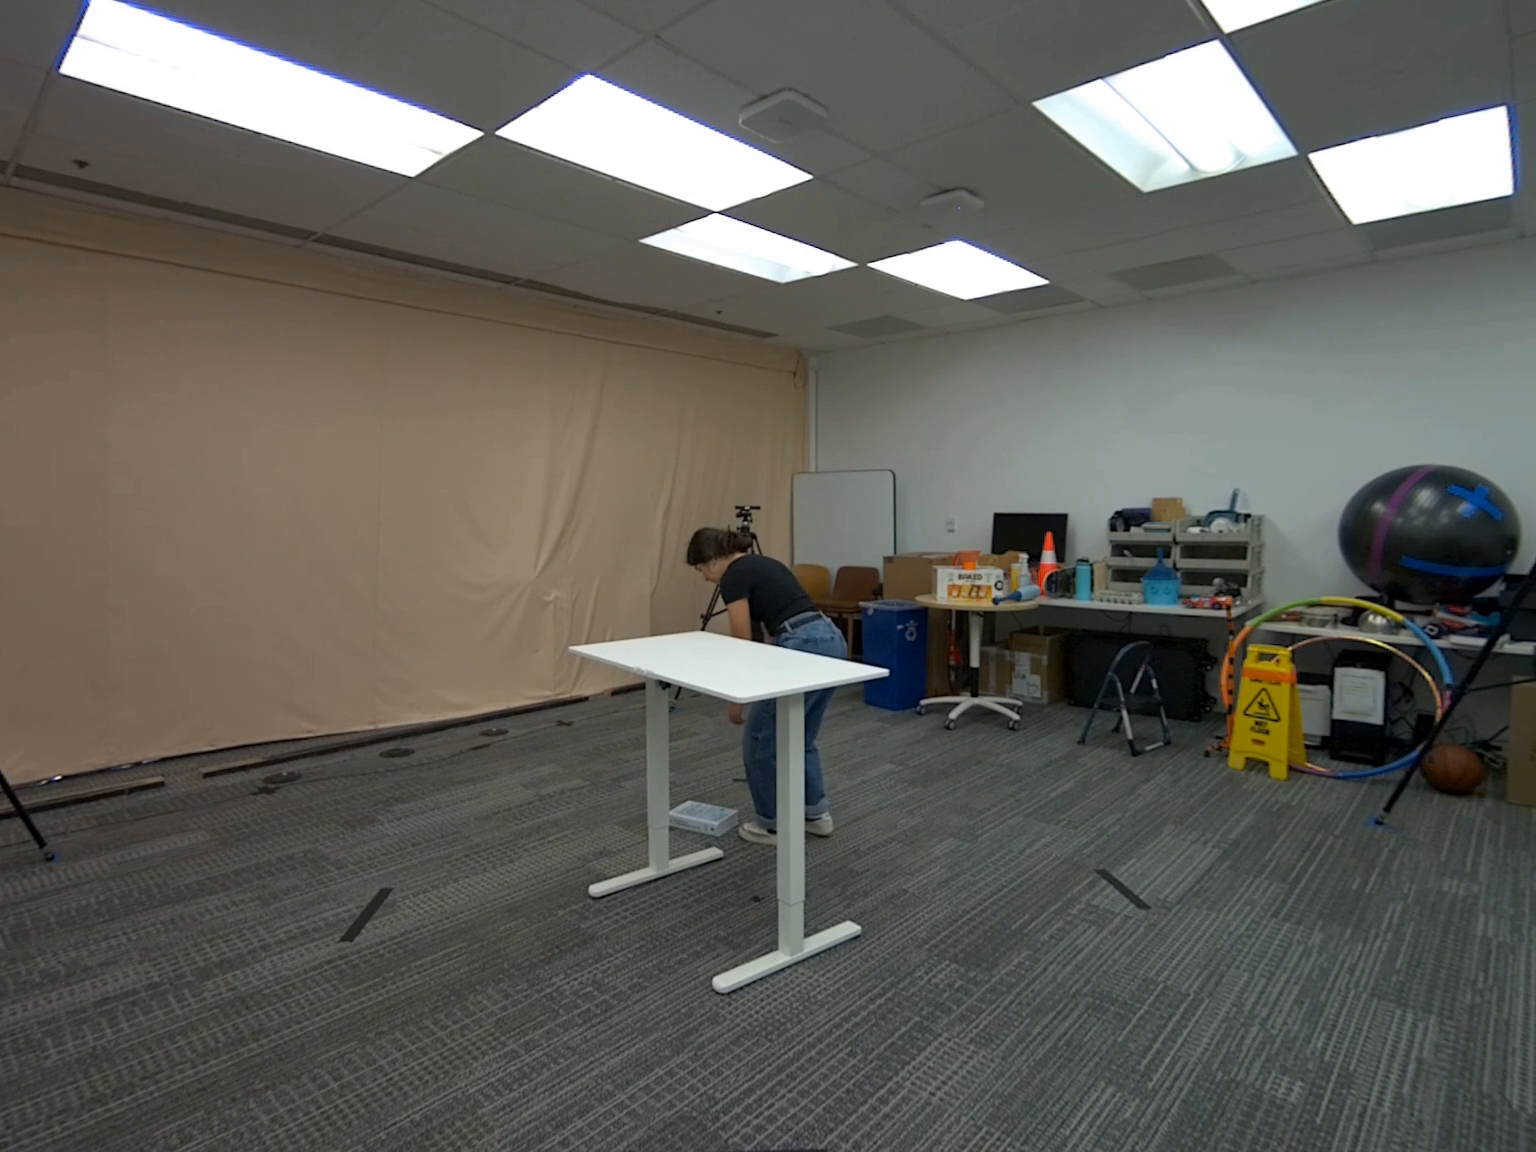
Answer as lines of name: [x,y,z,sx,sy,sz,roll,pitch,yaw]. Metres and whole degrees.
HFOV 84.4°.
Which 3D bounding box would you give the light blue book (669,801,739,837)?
light blue book: [-0.284,1.061,3.686,0.268,0.059,0.186,2,4,29]
